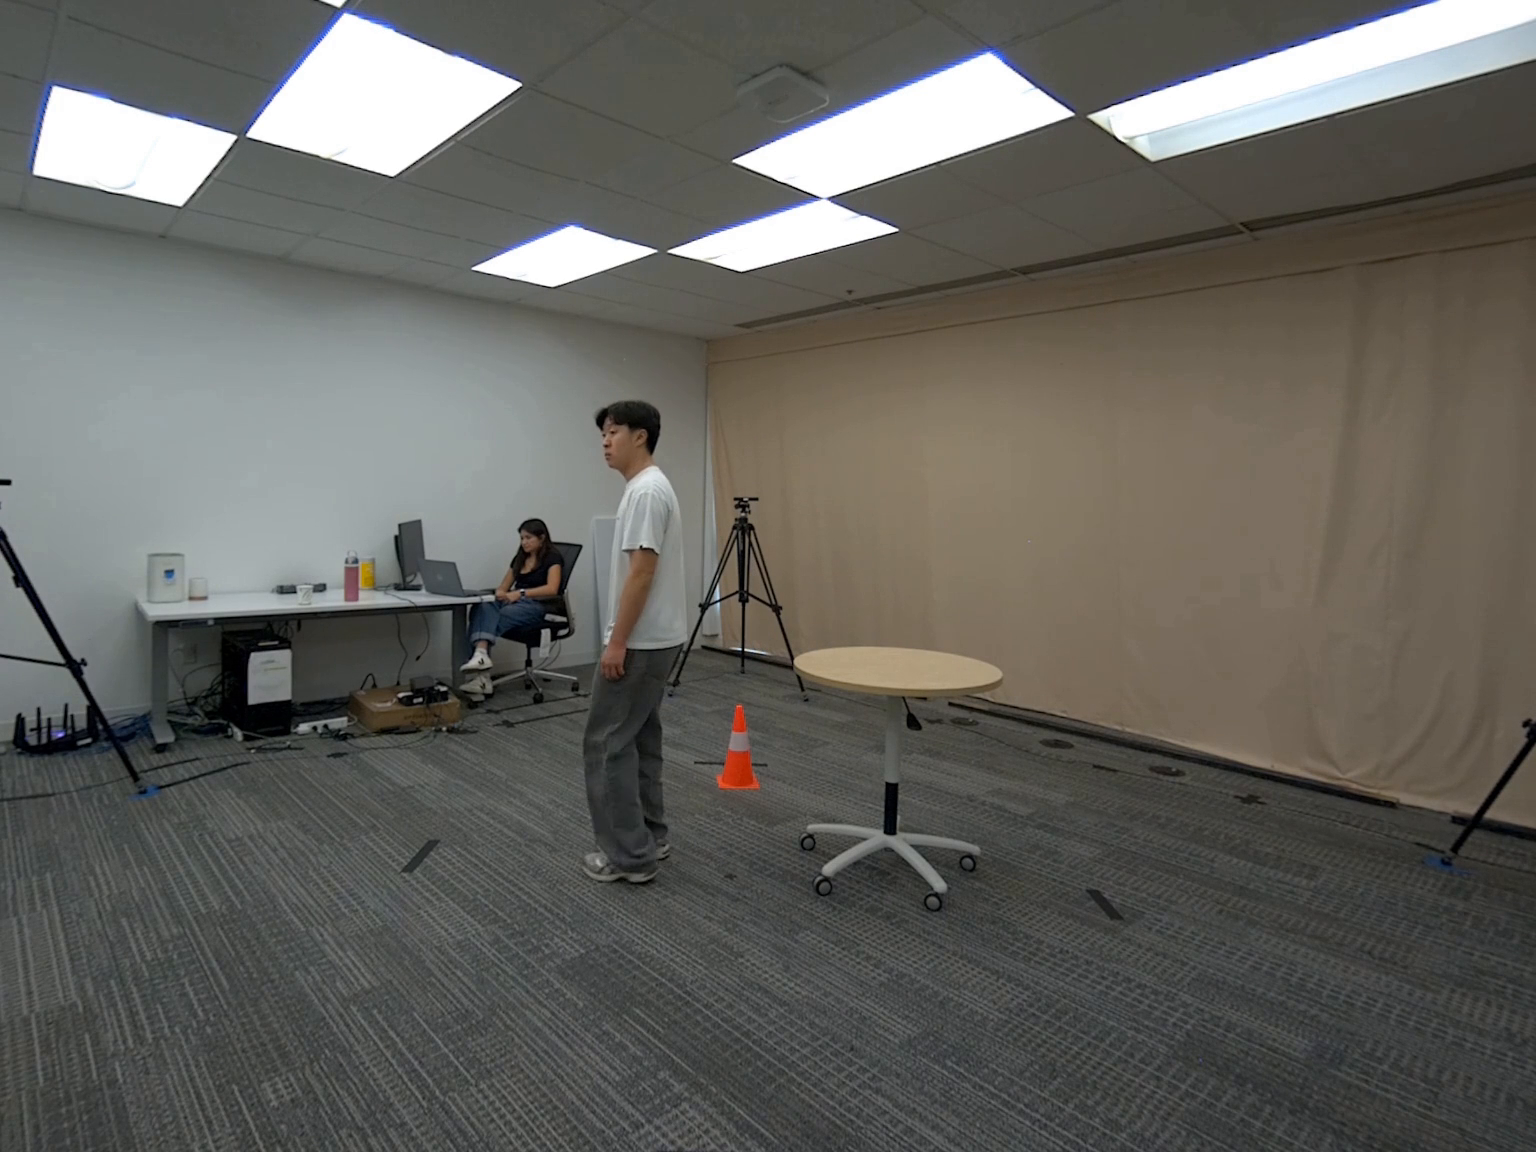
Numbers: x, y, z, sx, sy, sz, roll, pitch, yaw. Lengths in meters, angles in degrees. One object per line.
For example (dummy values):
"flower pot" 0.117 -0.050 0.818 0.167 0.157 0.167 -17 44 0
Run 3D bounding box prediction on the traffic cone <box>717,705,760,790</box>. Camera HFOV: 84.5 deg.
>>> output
"traffic cone" -0.159 0.835 4.165 0.202 0.383 0.207 2 2 -9
